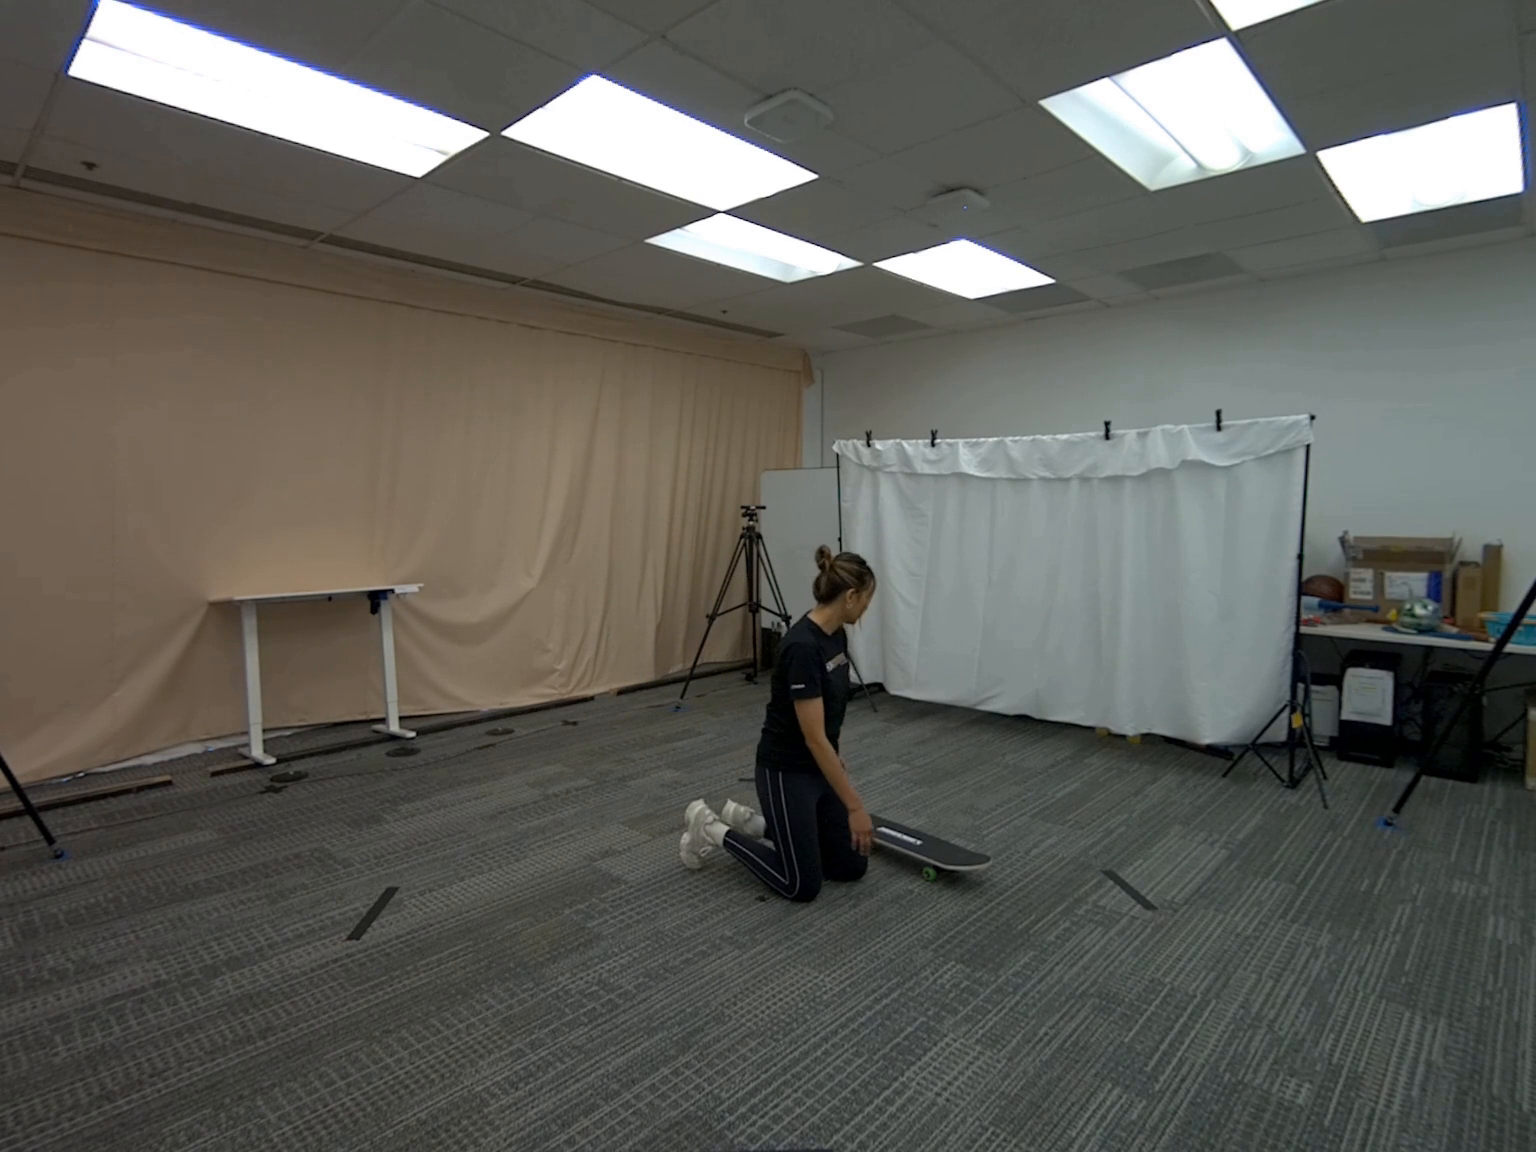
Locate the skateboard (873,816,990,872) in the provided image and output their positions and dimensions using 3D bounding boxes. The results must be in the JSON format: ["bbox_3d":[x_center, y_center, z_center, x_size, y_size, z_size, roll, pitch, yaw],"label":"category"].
[{"bbox_3d":[0.523,1.057,3.323,0.187,0.110,0.812,-4,6,-42],"label":"skateboard"}]
